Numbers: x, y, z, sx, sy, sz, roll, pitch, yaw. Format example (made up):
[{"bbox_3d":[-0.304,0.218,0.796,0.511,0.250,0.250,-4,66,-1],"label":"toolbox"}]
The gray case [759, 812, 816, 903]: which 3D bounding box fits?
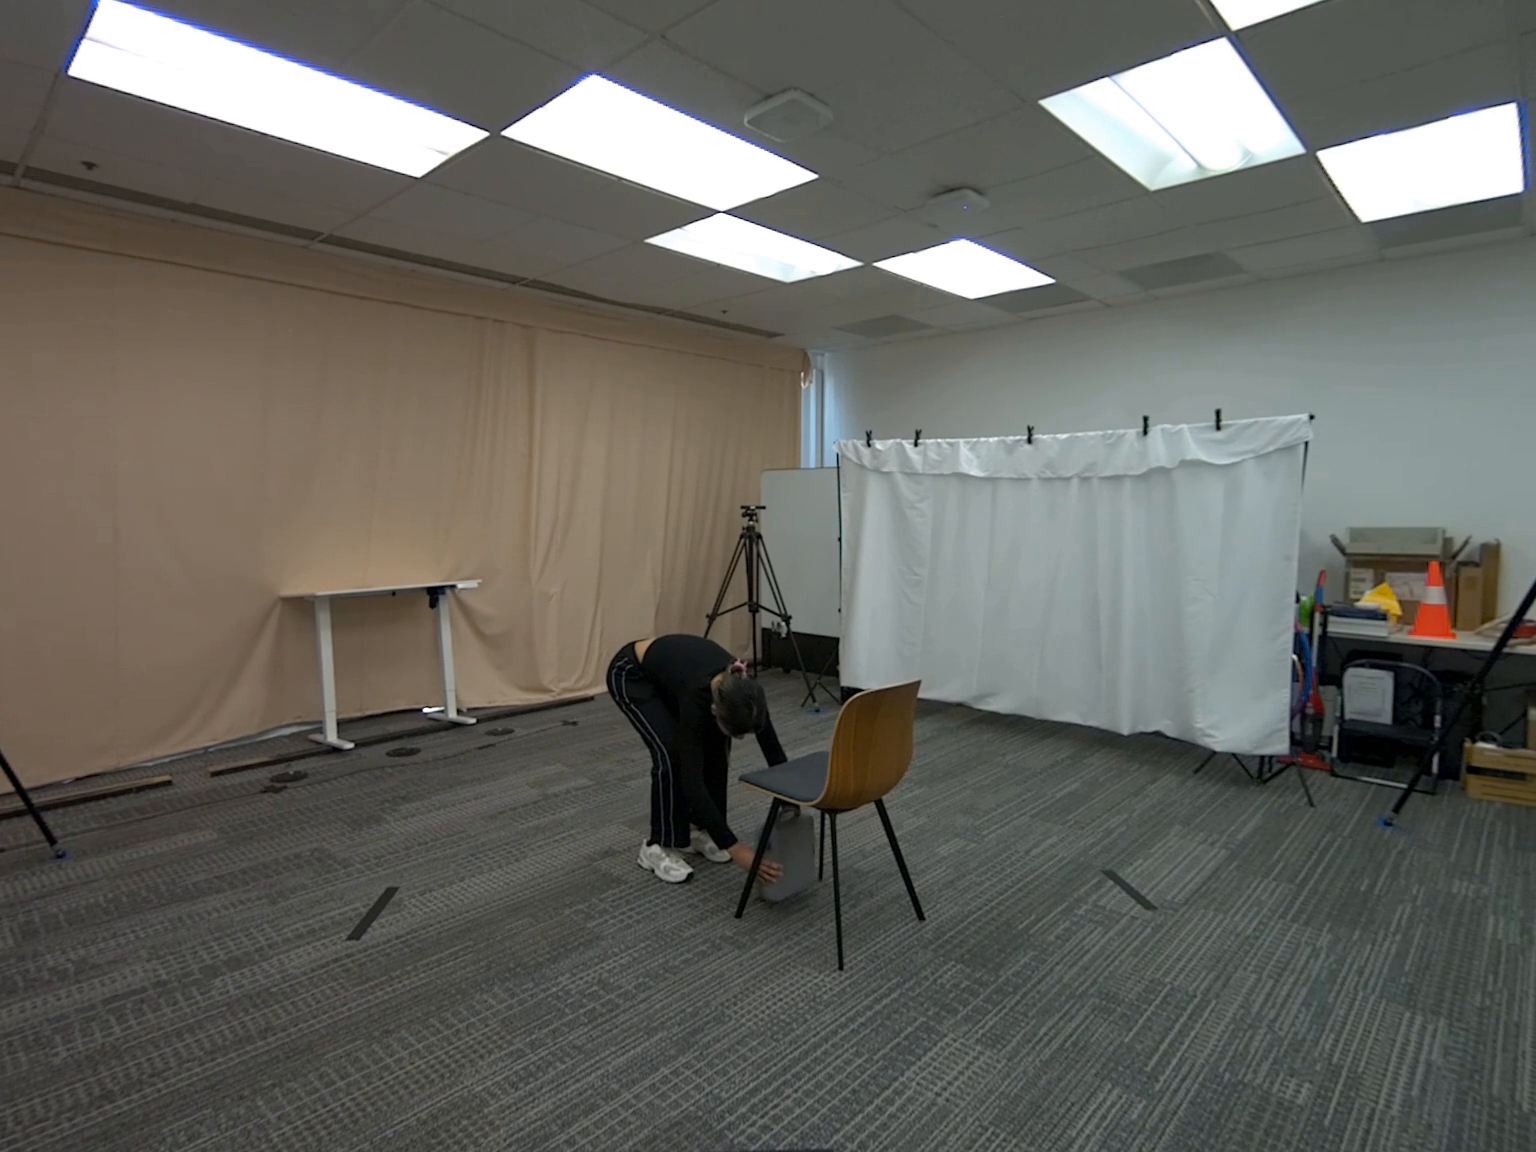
[{"bbox_3d":[0.051,0.981,2.964,0.107,0.260,0.249,-2,1,40],"label":"gray case"}]
